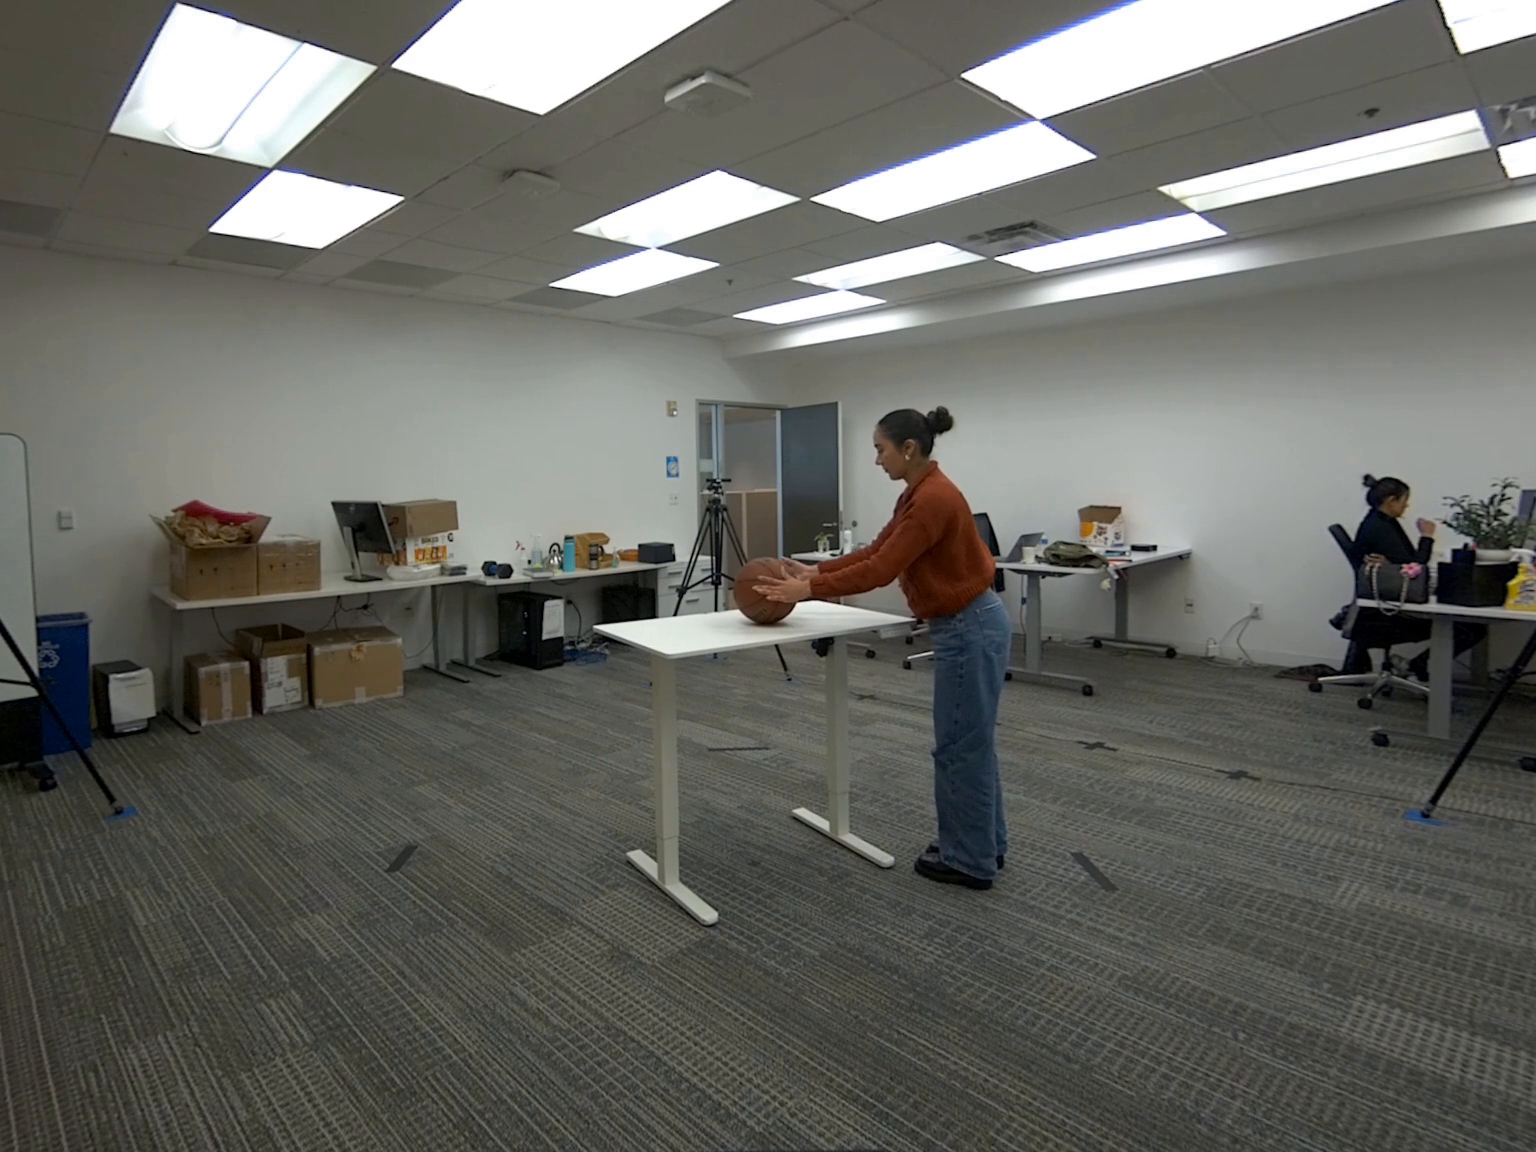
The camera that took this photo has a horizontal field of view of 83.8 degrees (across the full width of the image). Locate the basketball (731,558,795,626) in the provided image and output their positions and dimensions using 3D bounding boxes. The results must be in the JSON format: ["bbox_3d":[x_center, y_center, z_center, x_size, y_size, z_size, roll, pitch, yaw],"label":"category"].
[{"bbox_3d":[0.003,0.052,3.049,0.236,0.235,0.237,-1,5,-2],"label":"basketball"}]
